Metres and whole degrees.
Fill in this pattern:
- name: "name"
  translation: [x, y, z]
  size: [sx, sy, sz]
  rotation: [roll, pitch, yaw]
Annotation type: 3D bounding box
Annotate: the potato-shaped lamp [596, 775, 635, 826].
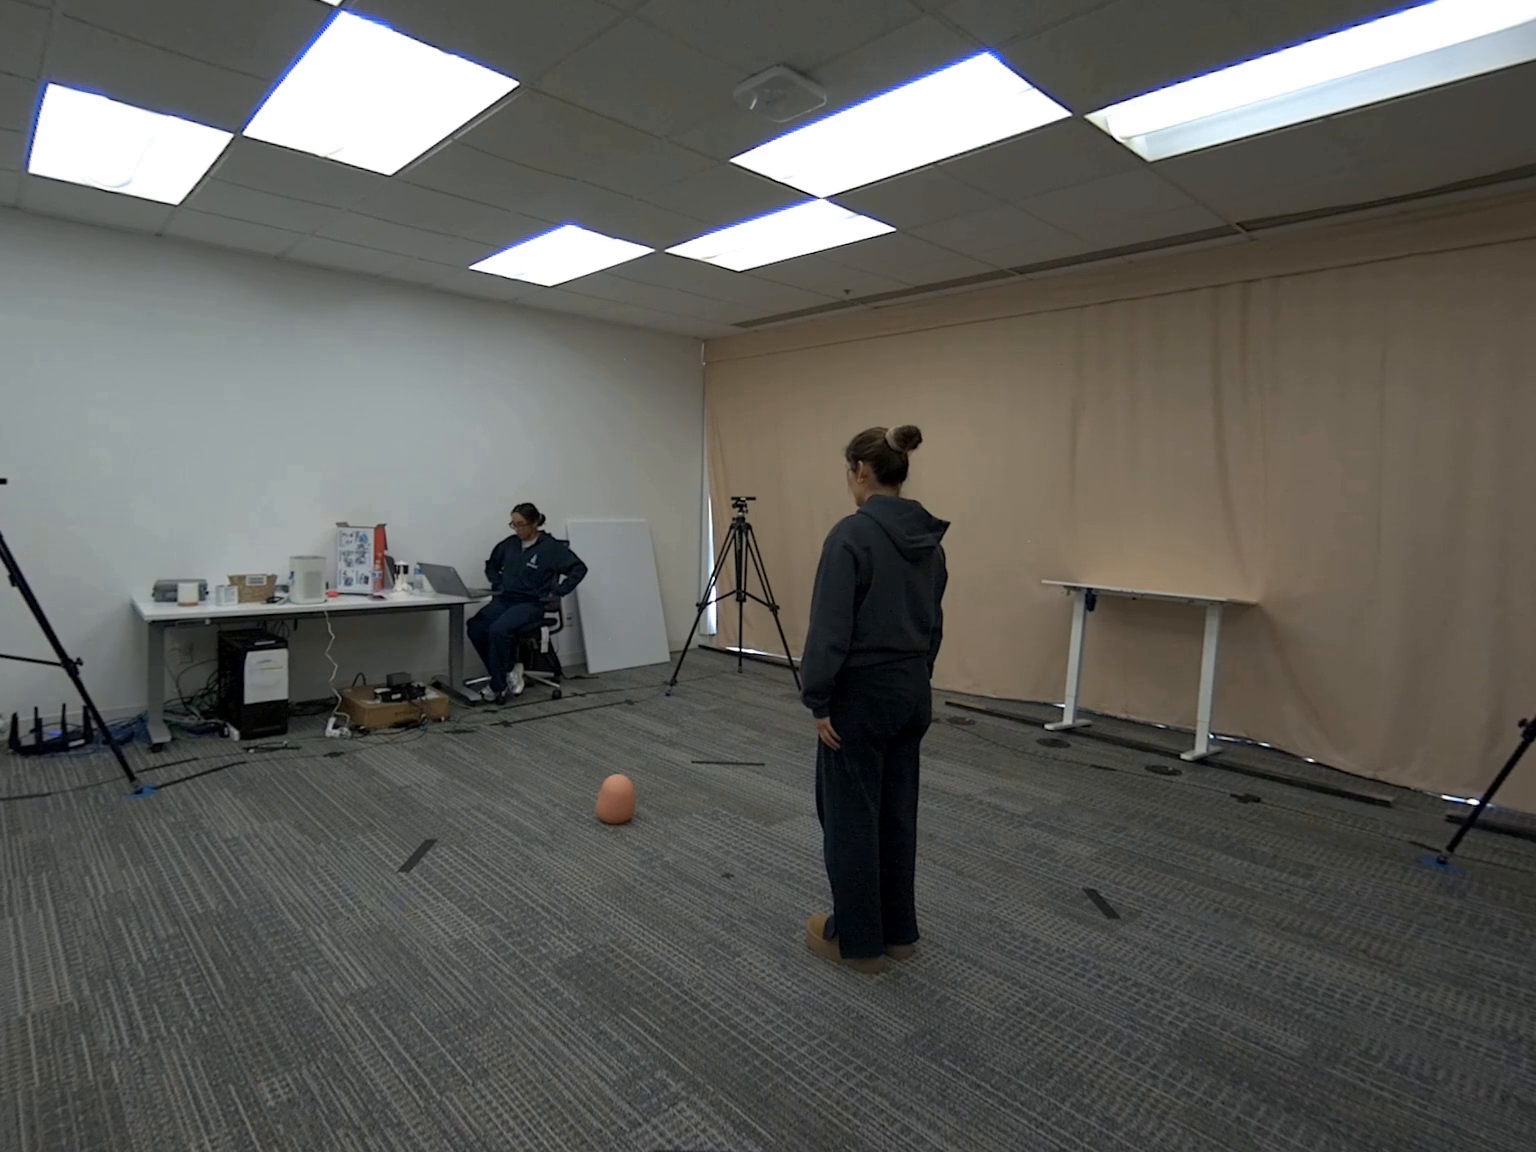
- name: "potato-shaped lamp"
  translation: [-0.664, 0.951, 3.616]
  size: [0.161, 0.197, 0.176]
  rotation: [0, 5, -40]
